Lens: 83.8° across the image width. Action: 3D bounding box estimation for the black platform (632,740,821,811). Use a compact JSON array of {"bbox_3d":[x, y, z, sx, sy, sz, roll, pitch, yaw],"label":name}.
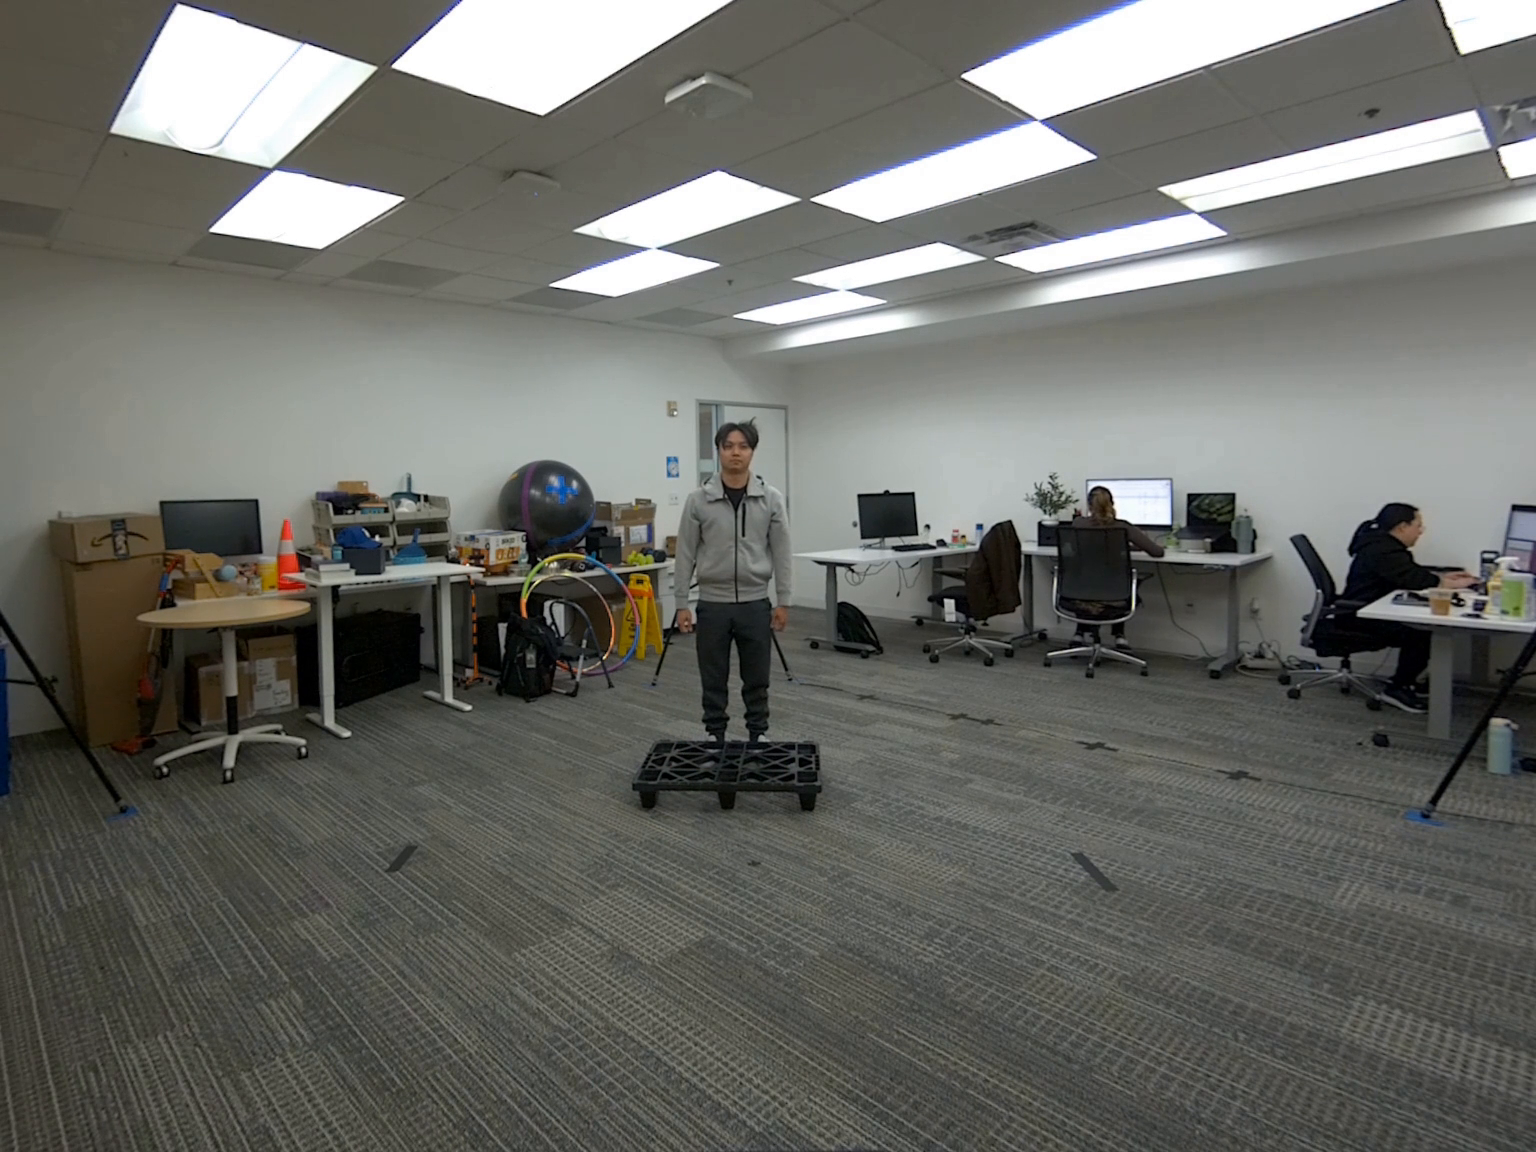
[{"bbox_3d":[-0.167,0.896,3.851,0.810,0.143,0.604,0,5,4],"label":"black platform"}]
